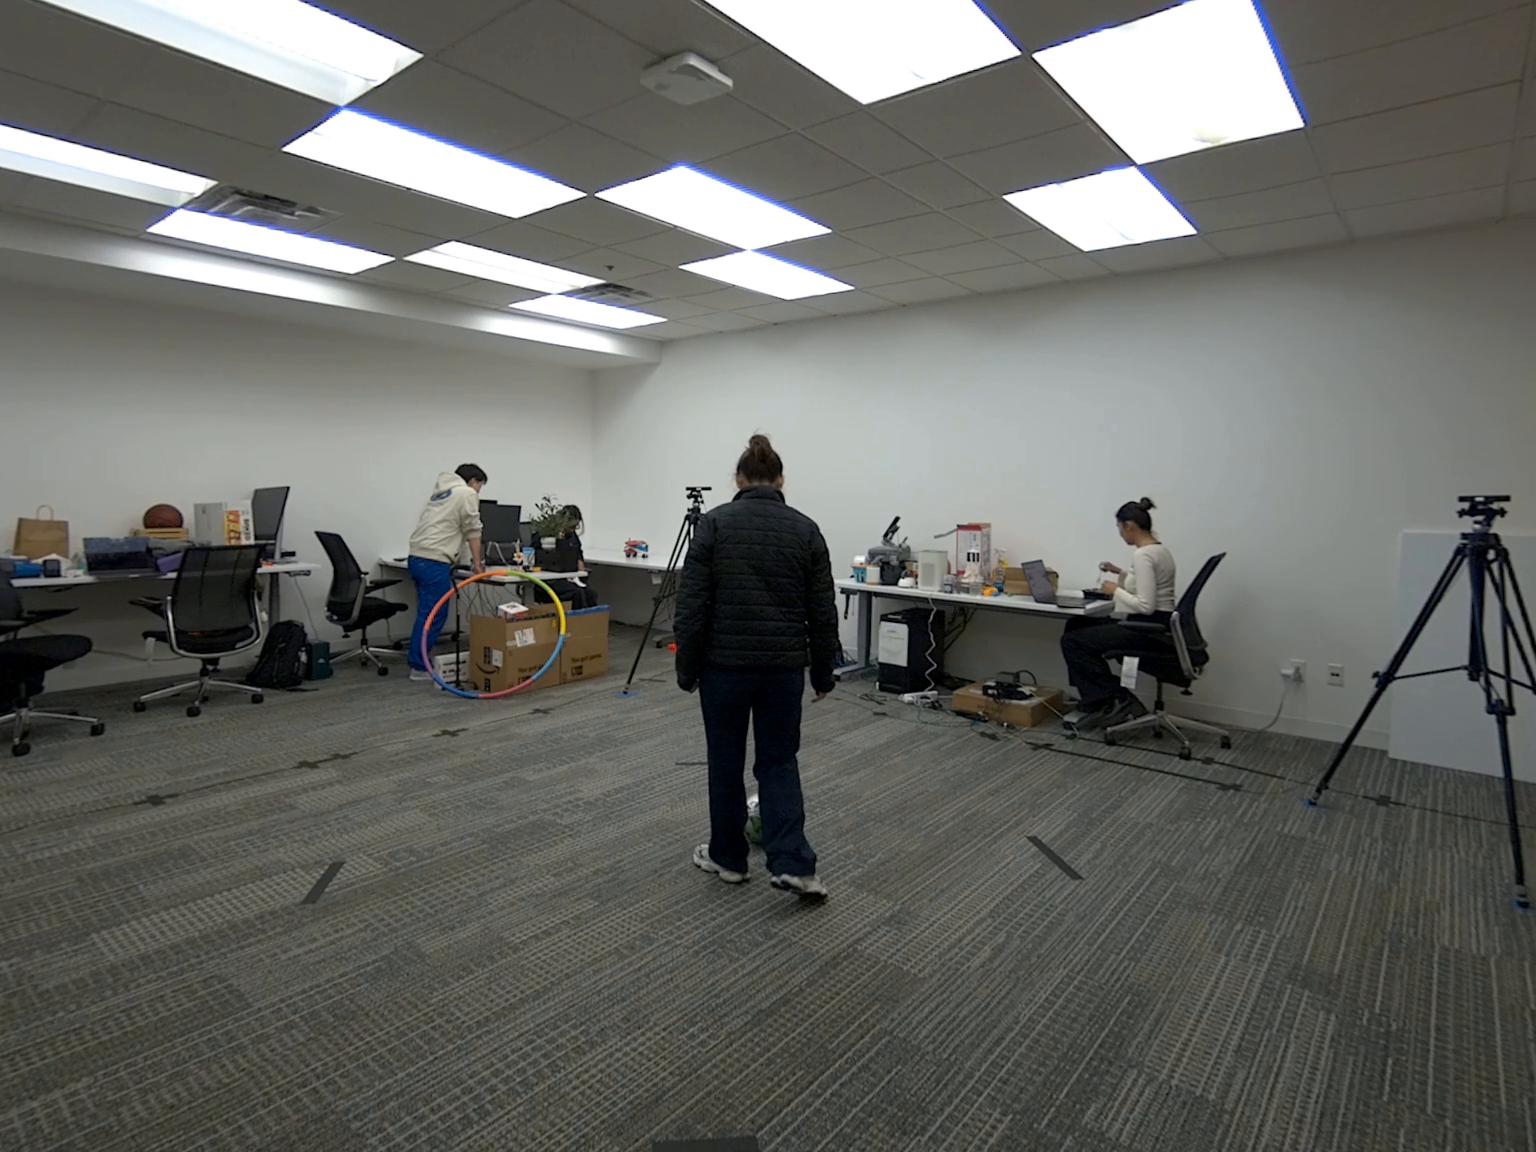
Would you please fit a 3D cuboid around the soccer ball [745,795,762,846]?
[{"bbox_3d":[-0.029,0.946,3.346,0.187,0.187,0.188,1,4,-2],"label":"soccer ball"}]
